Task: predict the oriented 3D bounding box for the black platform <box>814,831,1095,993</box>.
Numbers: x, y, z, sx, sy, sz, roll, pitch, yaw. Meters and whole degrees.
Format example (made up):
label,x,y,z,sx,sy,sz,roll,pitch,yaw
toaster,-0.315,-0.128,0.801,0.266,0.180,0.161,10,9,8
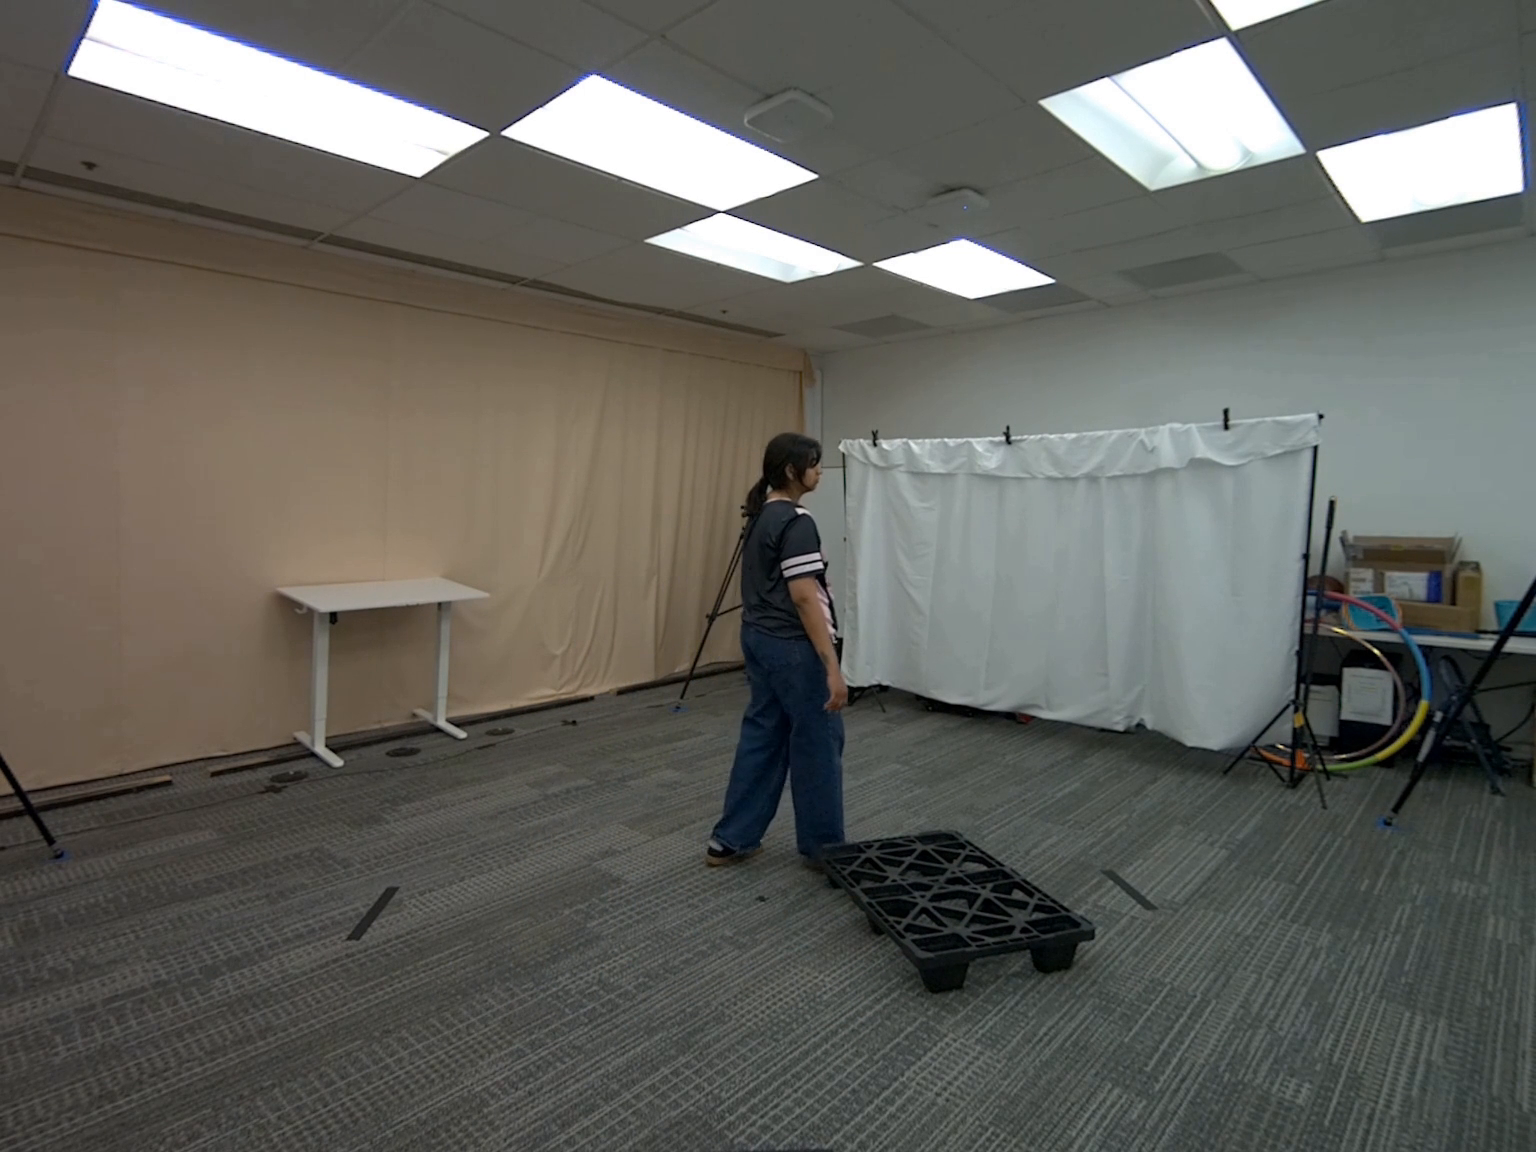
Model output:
label,x,y,z,sx,sy,sz,roll,pitch,yaw
black platform,0.582,1.094,2.804,0.595,0.143,0.822,-1,5,-18
